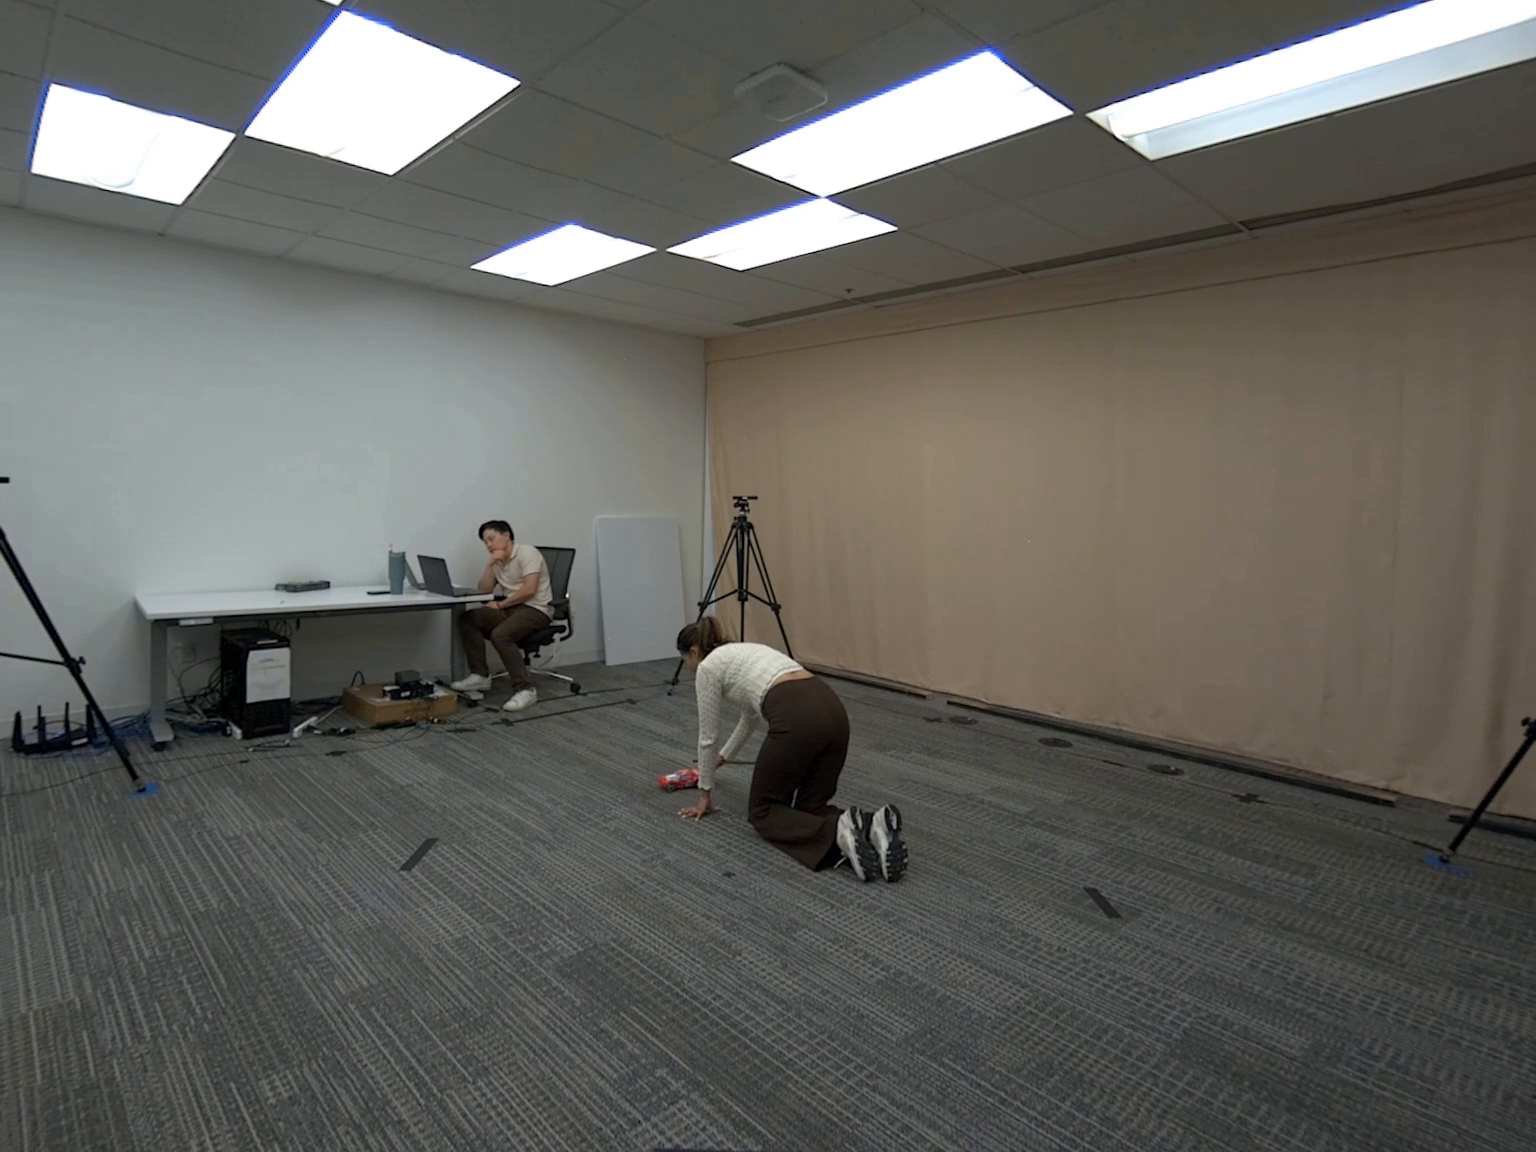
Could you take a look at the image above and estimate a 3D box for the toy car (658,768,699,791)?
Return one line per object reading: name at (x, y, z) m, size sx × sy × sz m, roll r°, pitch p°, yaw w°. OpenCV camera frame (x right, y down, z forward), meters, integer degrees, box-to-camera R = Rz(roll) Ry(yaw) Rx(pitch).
toy car at (-0.409, 0.982, 4.059) m, size 0.251 × 0.083 × 0.133 m, roll -12°, pitch 9°, yaw -23°
